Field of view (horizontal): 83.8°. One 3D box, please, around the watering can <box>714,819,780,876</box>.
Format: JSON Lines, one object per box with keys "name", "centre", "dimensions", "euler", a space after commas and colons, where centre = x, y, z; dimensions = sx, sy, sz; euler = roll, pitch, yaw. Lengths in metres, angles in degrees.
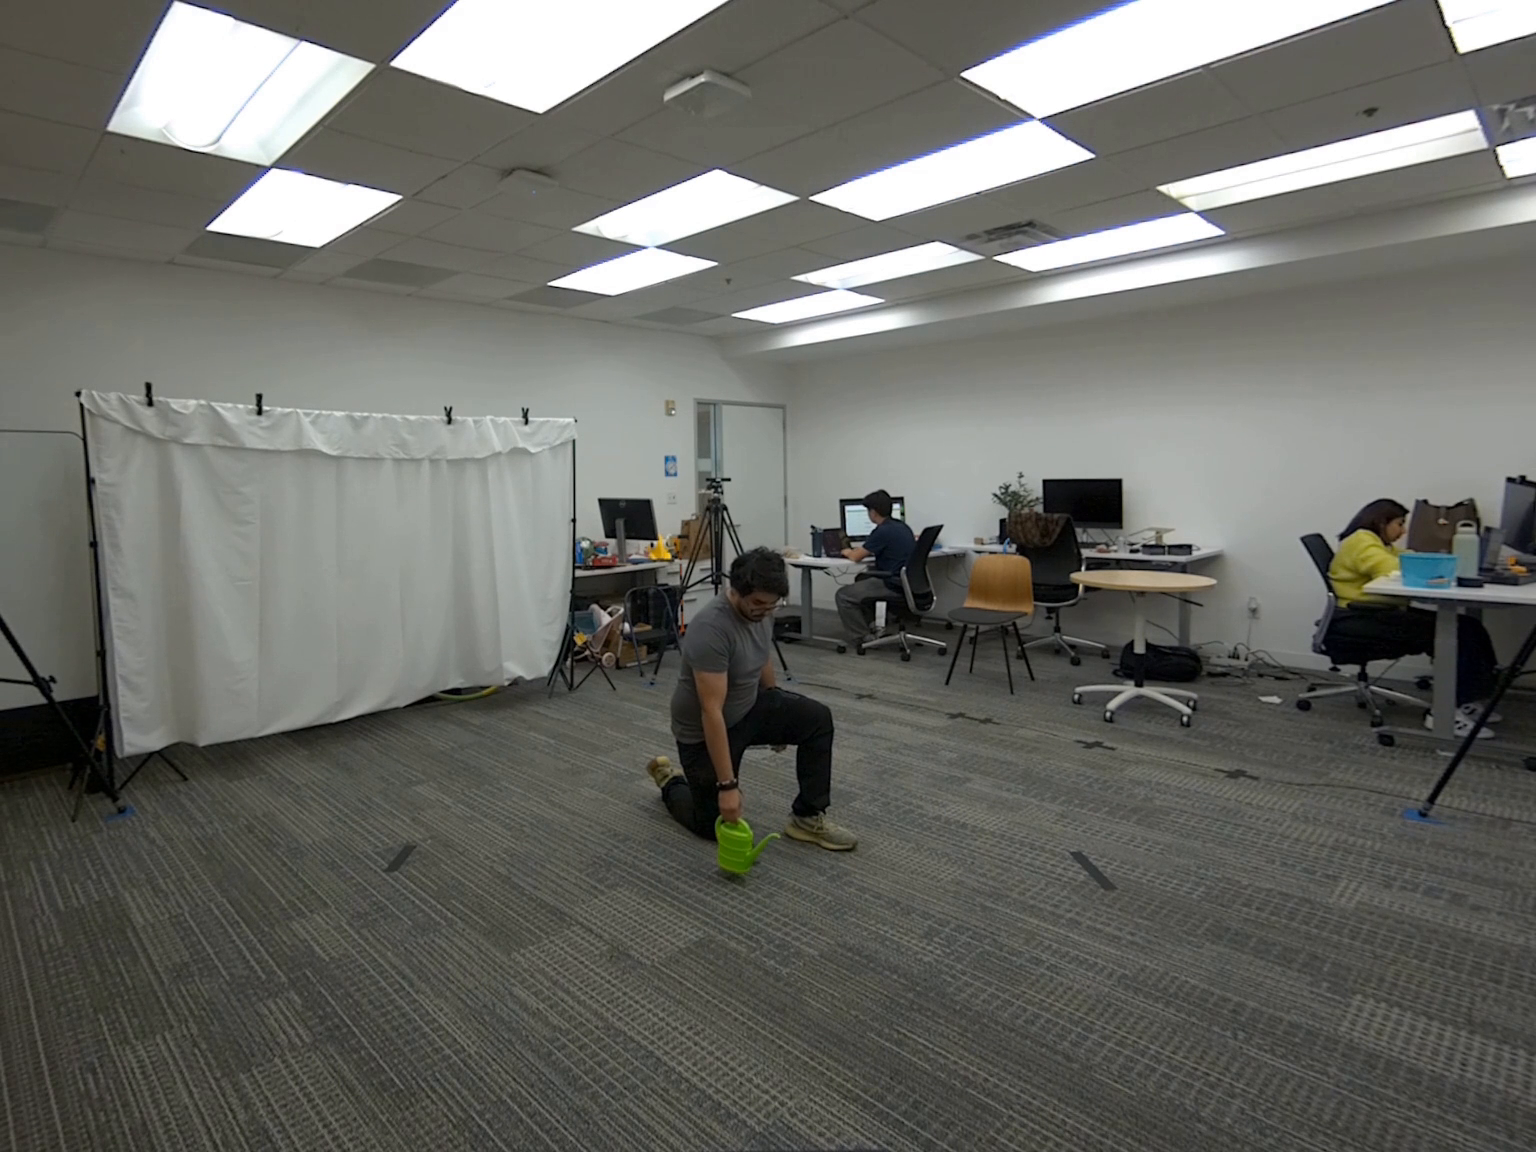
{"name": "watering can", "centre": [-0.082, 0.942, 2.952], "dimensions": [0.095, 0.176, 0.287], "euler": [0, 6, -35]}
